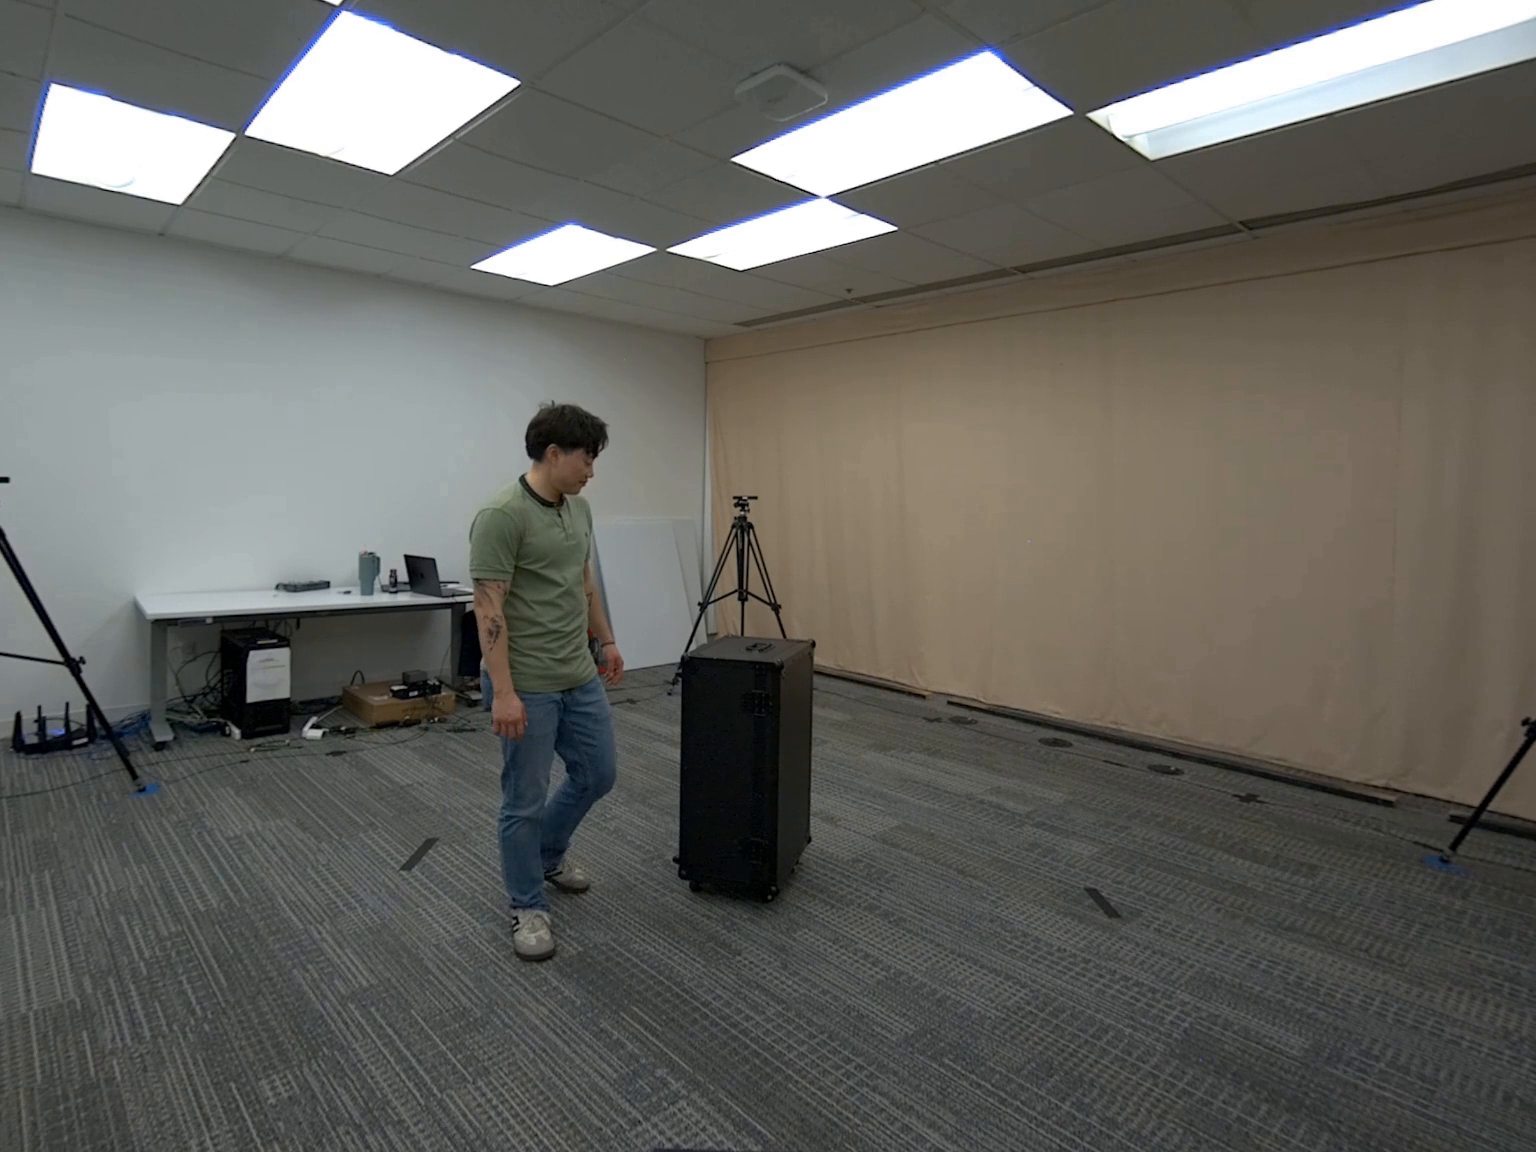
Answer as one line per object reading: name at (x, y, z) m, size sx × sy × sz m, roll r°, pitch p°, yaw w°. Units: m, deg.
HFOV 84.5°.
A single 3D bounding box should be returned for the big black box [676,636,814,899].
big black box at (-0.081, 0.681, 3.057) m, size 0.402 × 0.859 × 0.515 m, roll 2°, pitch 3°, yaw 18°
